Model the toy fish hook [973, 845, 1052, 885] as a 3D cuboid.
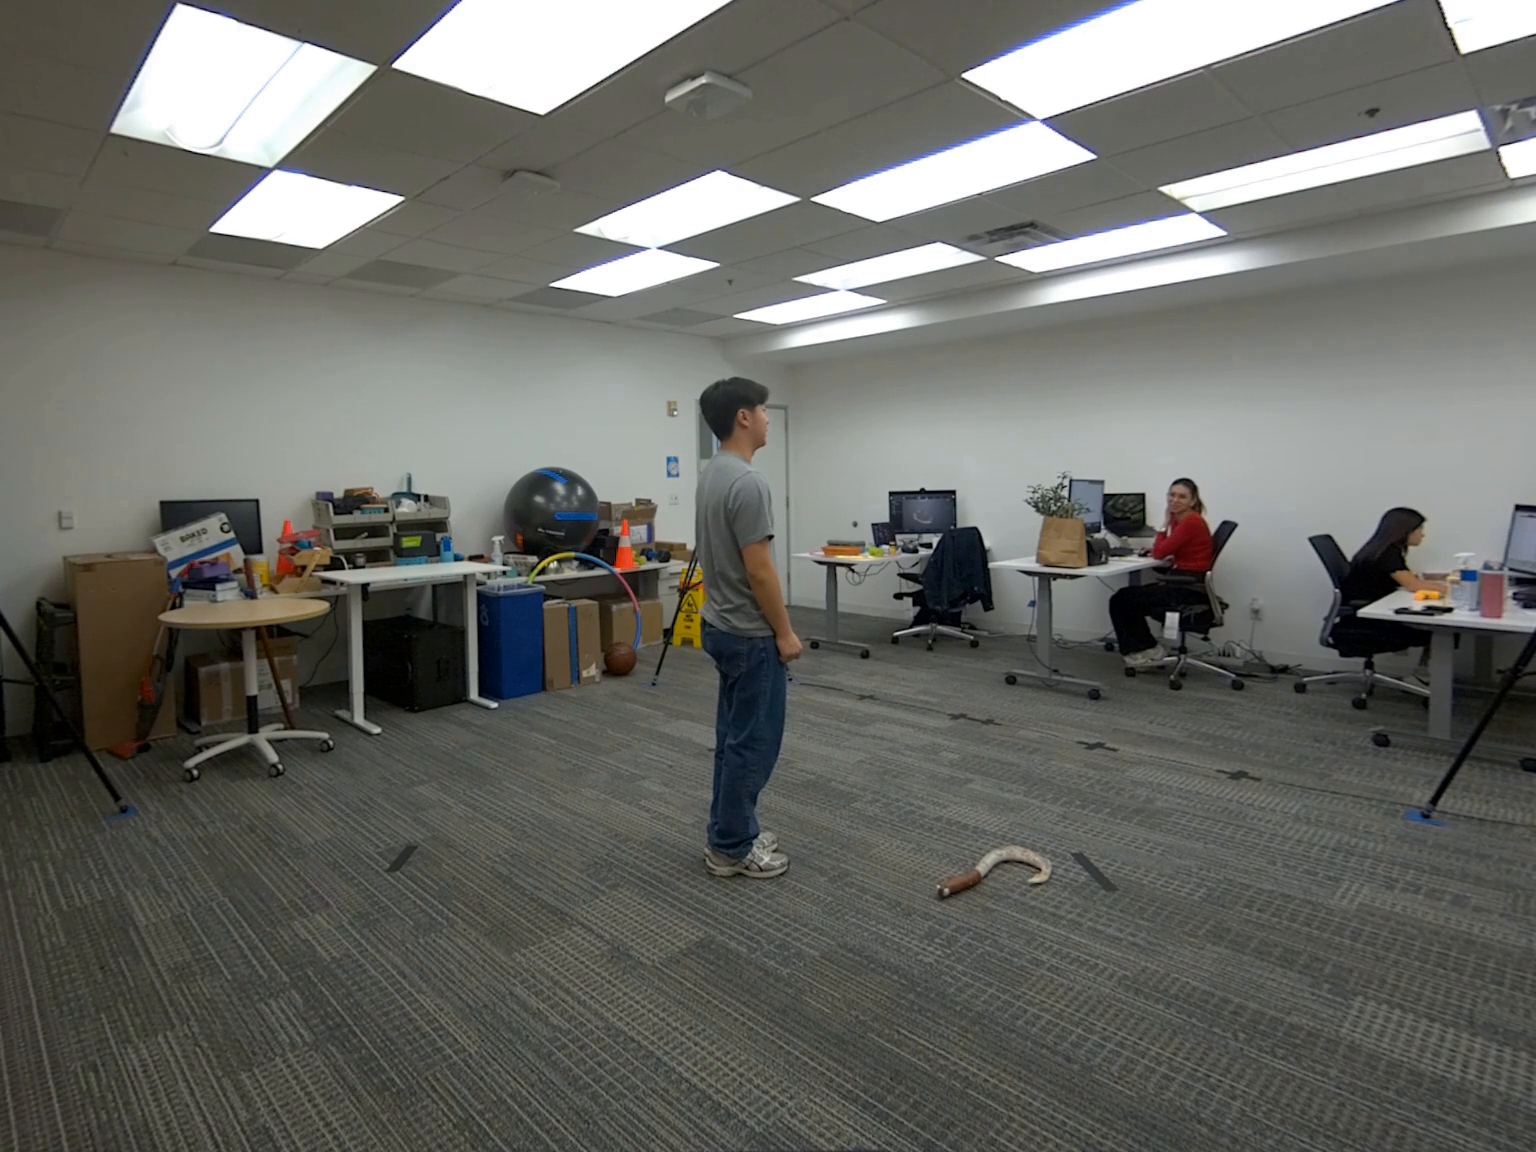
[{"bbox_3d":[0.788,1.026,2.921,0.494,0.048,0.231,-7,7,-38],"label":"toy fish hook"}]
